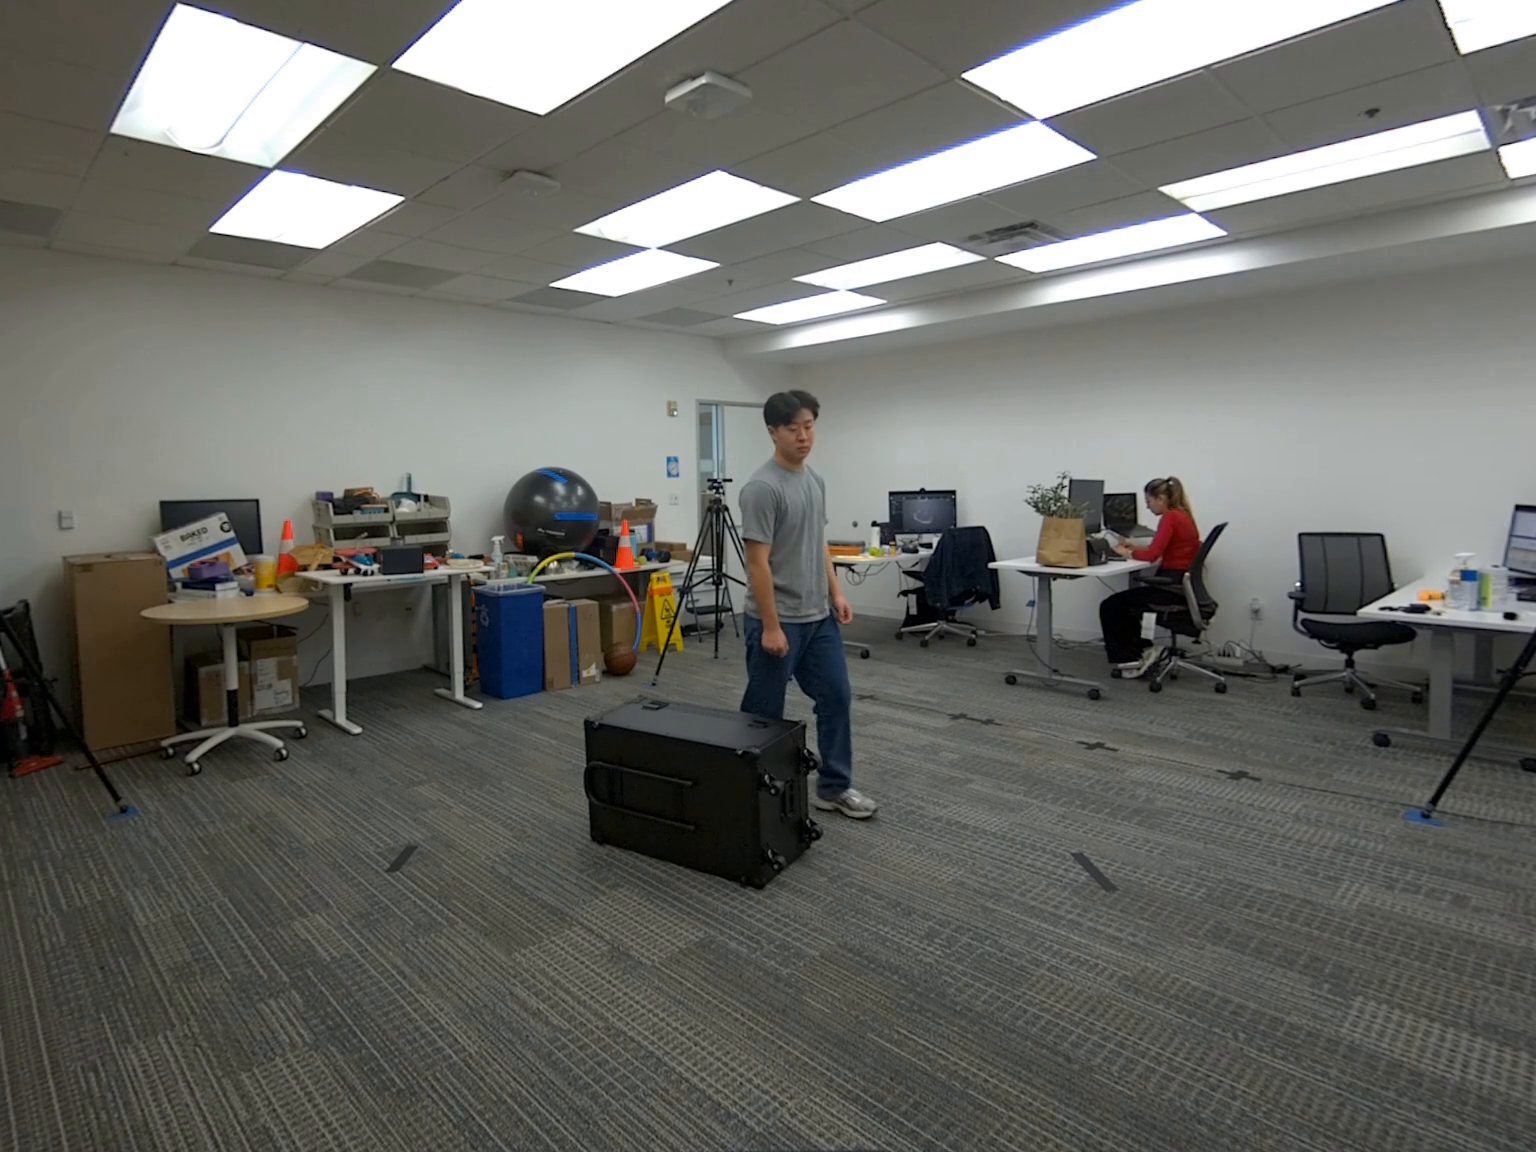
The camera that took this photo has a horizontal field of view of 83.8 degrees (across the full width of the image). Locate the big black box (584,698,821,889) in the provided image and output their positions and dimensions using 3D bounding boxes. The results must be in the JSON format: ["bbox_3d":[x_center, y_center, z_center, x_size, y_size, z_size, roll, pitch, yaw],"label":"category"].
[{"bbox_3d":[-0.256,0.780,3.207,0.885,0.518,0.388,2,8,32],"label":"big black box"}]
